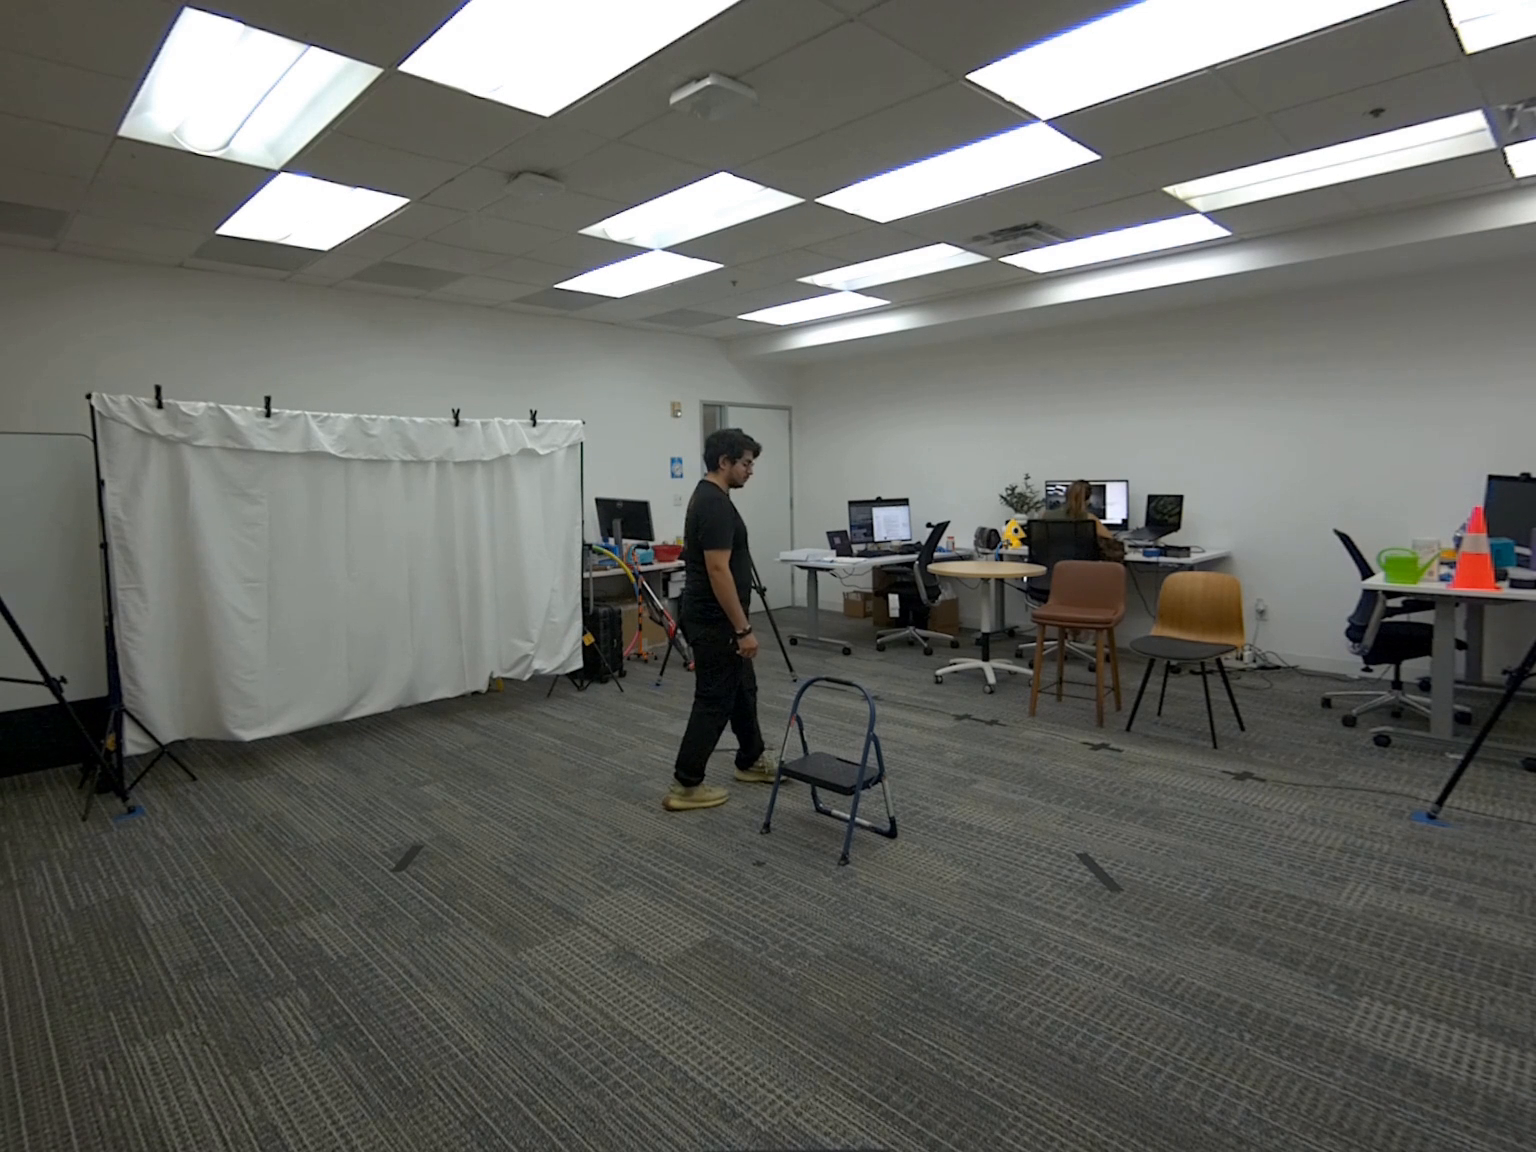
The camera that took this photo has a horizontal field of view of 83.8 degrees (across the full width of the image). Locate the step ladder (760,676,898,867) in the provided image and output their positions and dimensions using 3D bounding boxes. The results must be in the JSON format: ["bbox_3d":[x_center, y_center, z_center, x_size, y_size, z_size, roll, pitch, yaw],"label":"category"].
[{"bbox_3d":[0.238,0.713,3.331,0.340,0.604,0.444,-5,6,-44],"label":"step ladder"}]
